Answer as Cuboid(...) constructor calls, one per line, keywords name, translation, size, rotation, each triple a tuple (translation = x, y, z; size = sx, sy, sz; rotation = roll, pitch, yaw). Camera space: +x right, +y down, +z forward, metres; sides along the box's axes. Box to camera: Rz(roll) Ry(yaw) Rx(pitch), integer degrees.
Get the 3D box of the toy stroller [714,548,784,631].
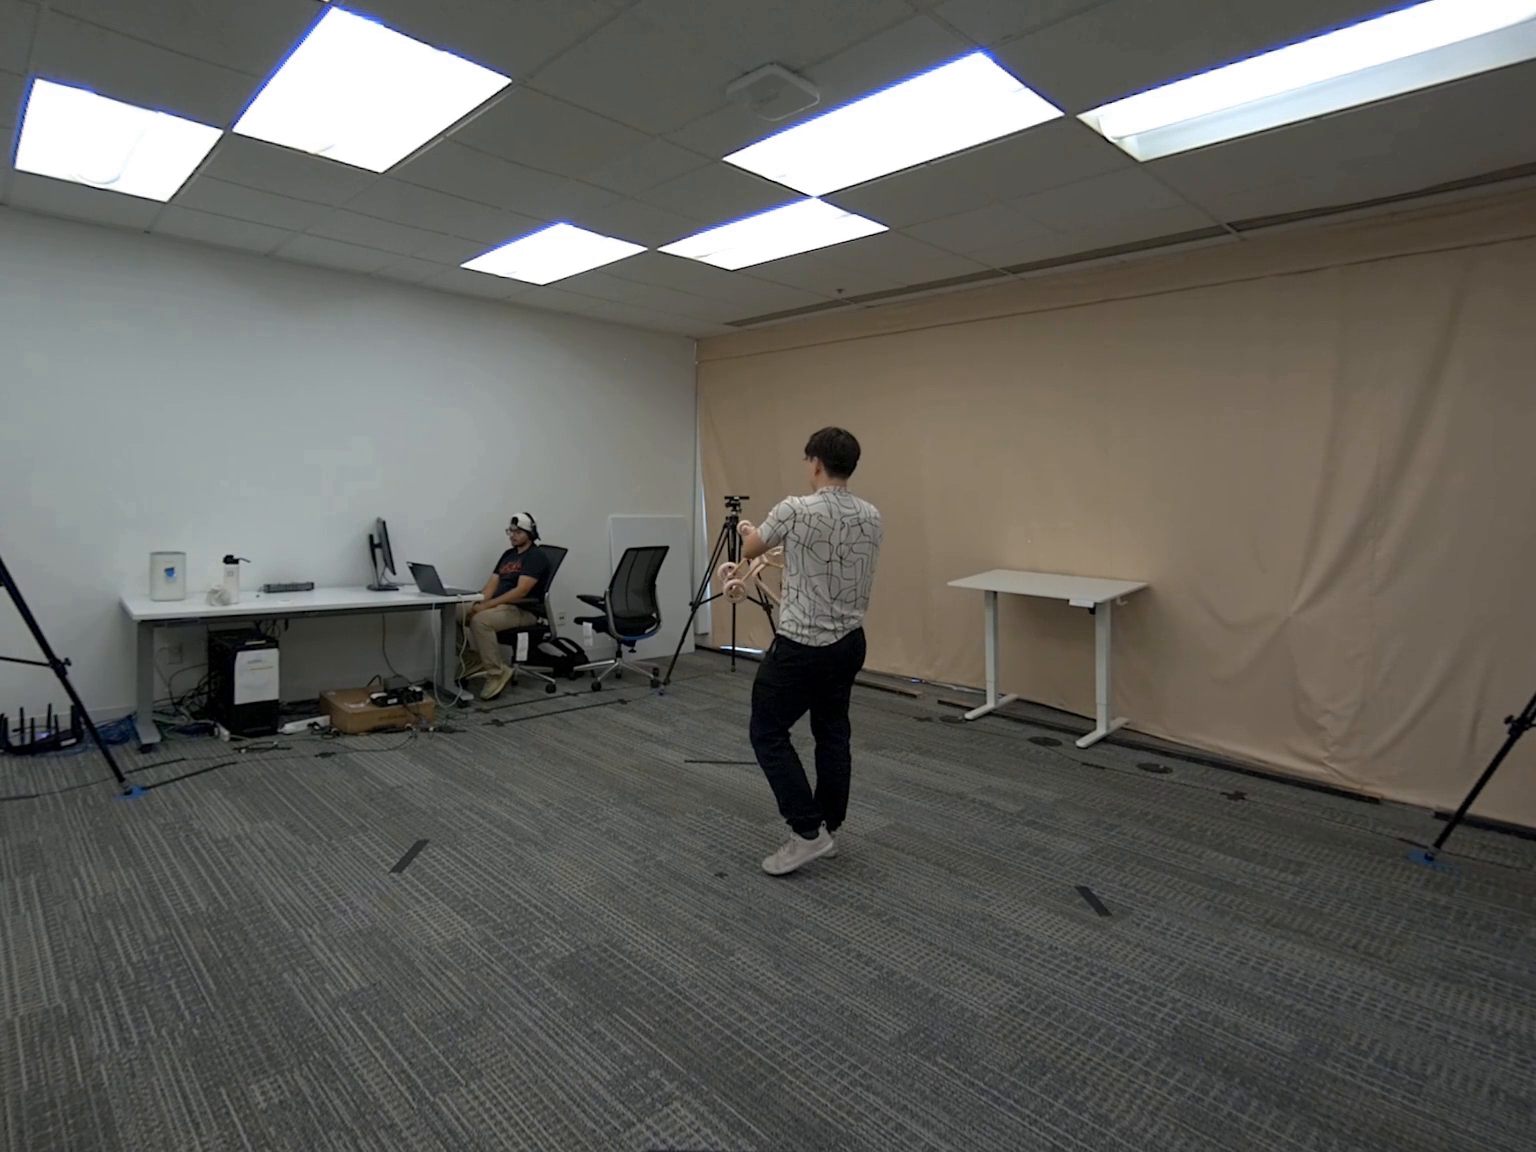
Cuboid(name="toy stroller", translation=(0.005, 0.010, 3.758), size=(0.527, 0.341, 0.286), rotation=(32, 5, -14))
